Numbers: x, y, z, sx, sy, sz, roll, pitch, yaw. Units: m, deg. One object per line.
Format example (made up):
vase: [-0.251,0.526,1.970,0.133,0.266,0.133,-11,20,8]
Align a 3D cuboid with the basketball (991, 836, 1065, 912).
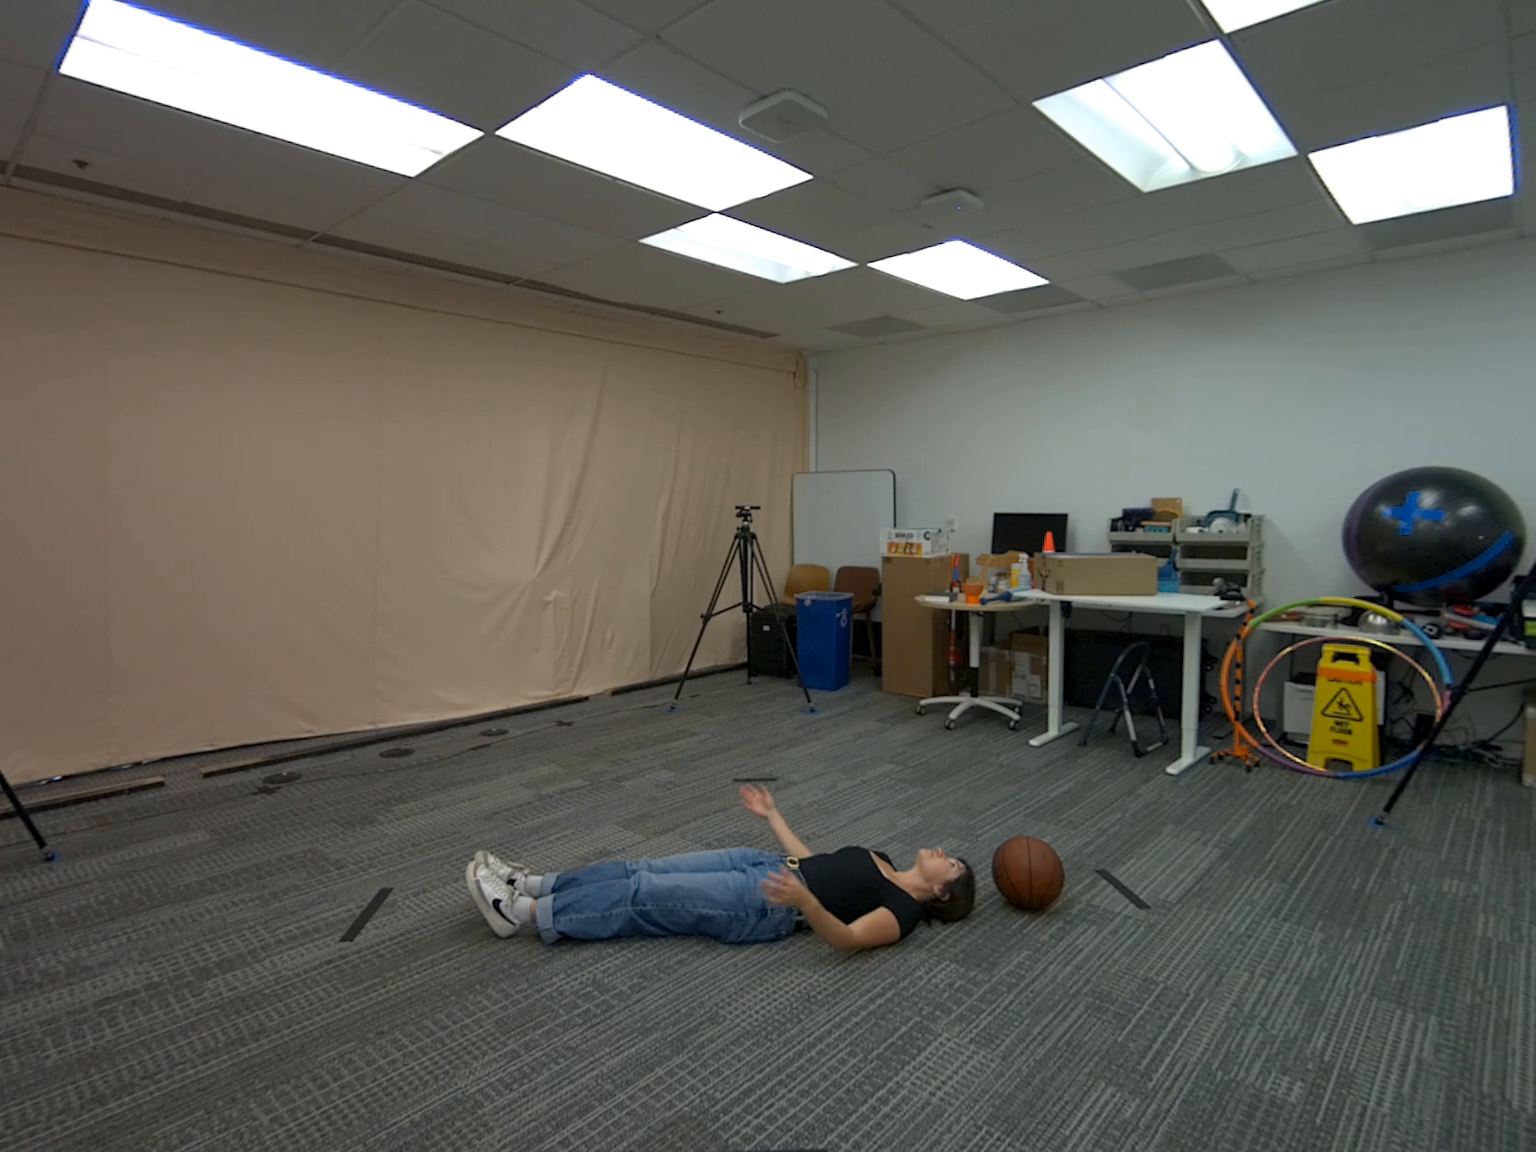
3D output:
basketball: [0.907,1.024,2.925,0.236,0.235,0.237,0,4,-2]
